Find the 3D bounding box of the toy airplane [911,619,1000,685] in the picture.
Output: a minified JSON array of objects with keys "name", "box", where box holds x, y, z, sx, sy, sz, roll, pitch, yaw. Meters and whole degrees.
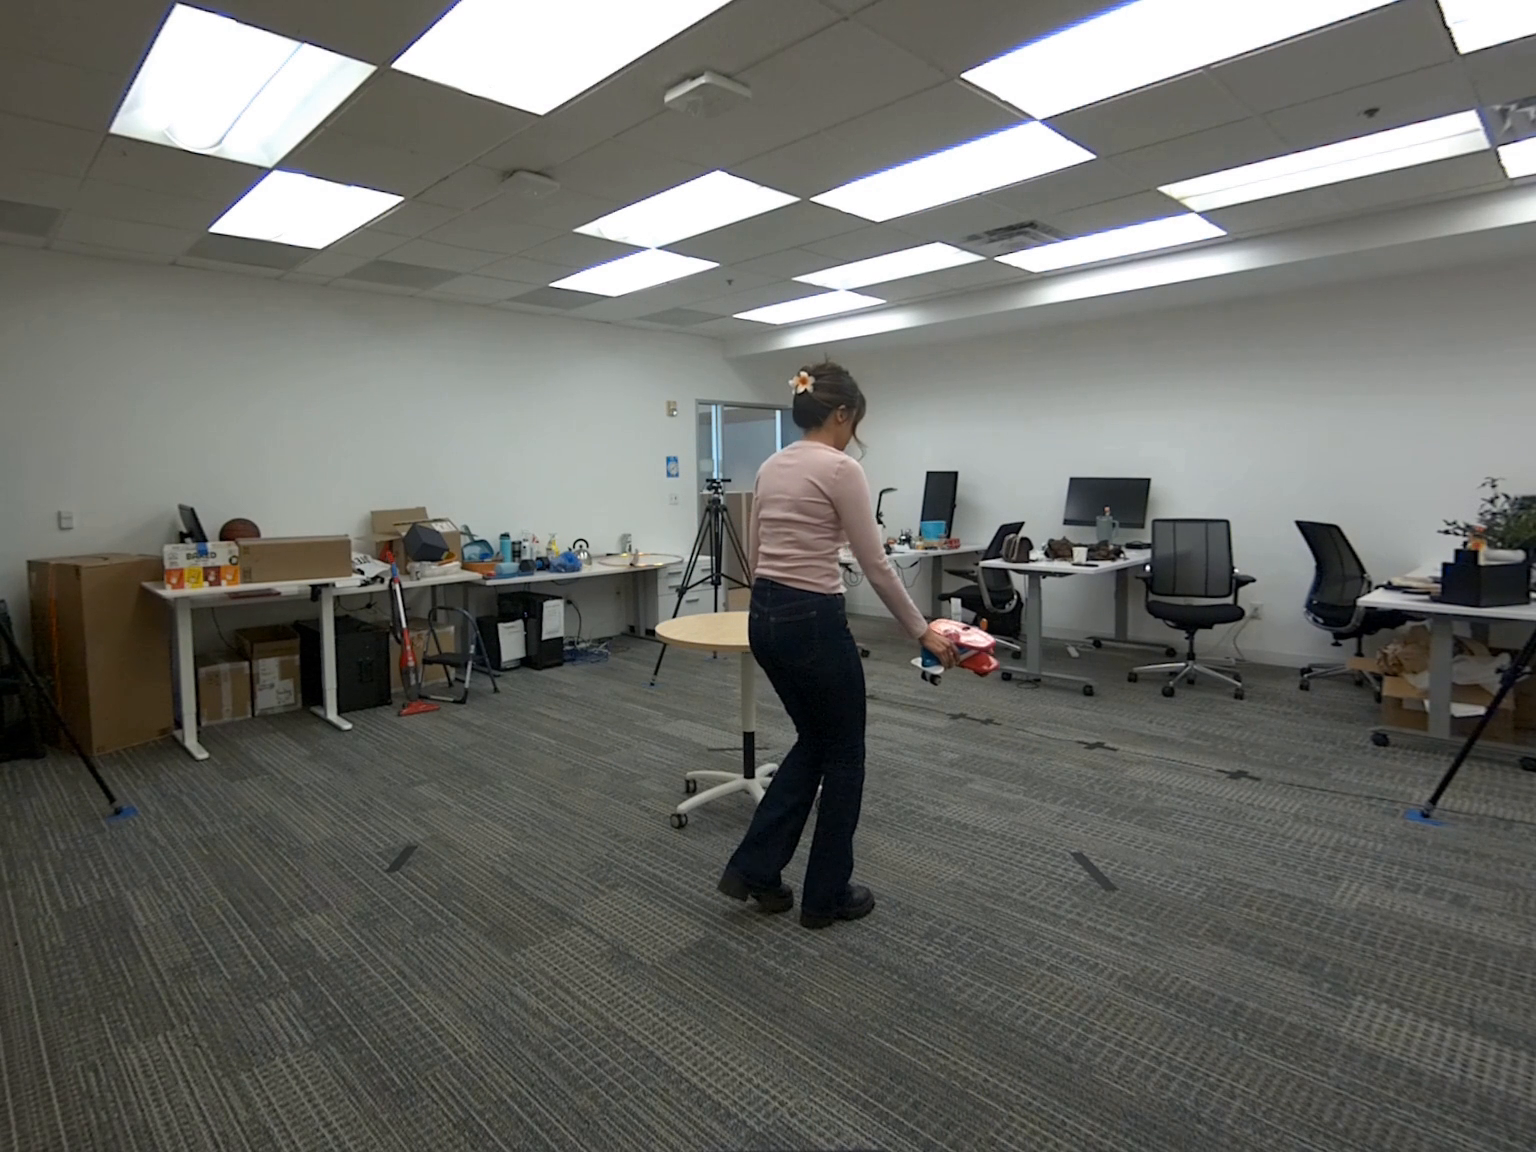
[{"name":"toy airplane","box":[0.592,0.246,2.657,0.258,0.155,0.255,8,15,28]}]
